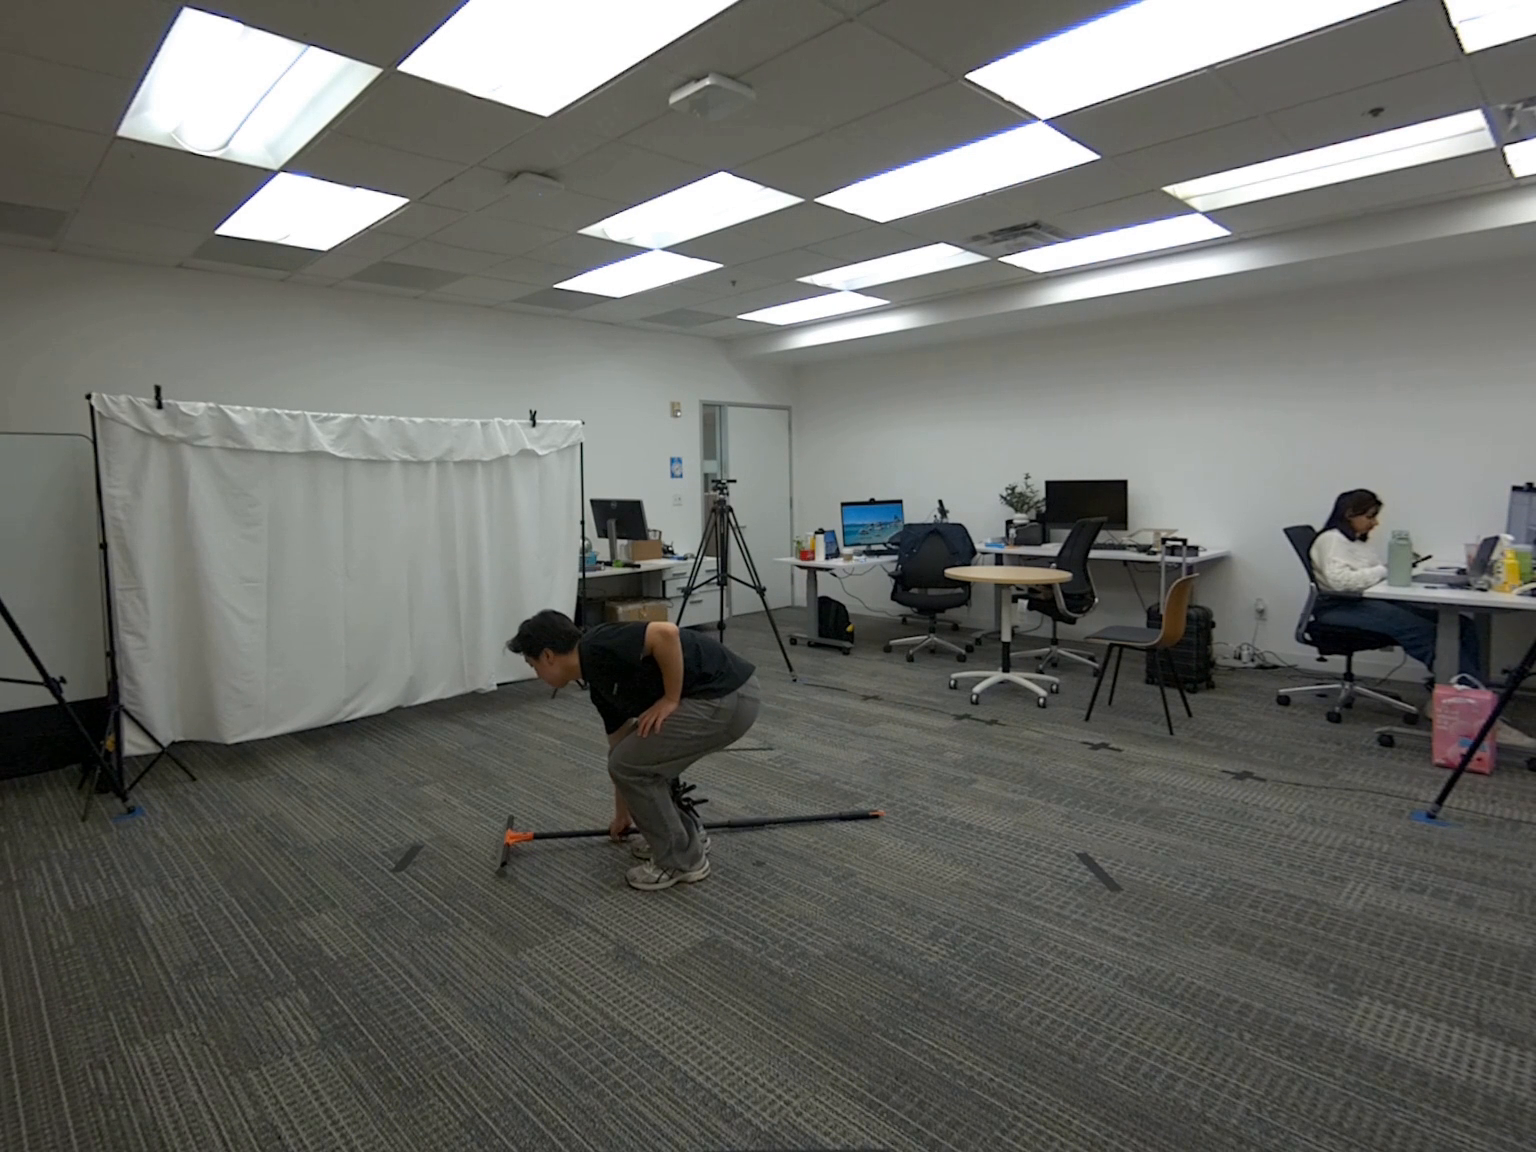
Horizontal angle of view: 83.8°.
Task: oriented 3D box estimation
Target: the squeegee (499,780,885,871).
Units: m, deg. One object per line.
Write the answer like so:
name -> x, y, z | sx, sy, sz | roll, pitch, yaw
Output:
squeegee -> -0.262, 0.968, 3.376 | 1.520, 0.052, 0.445 | -2, 9, -12
